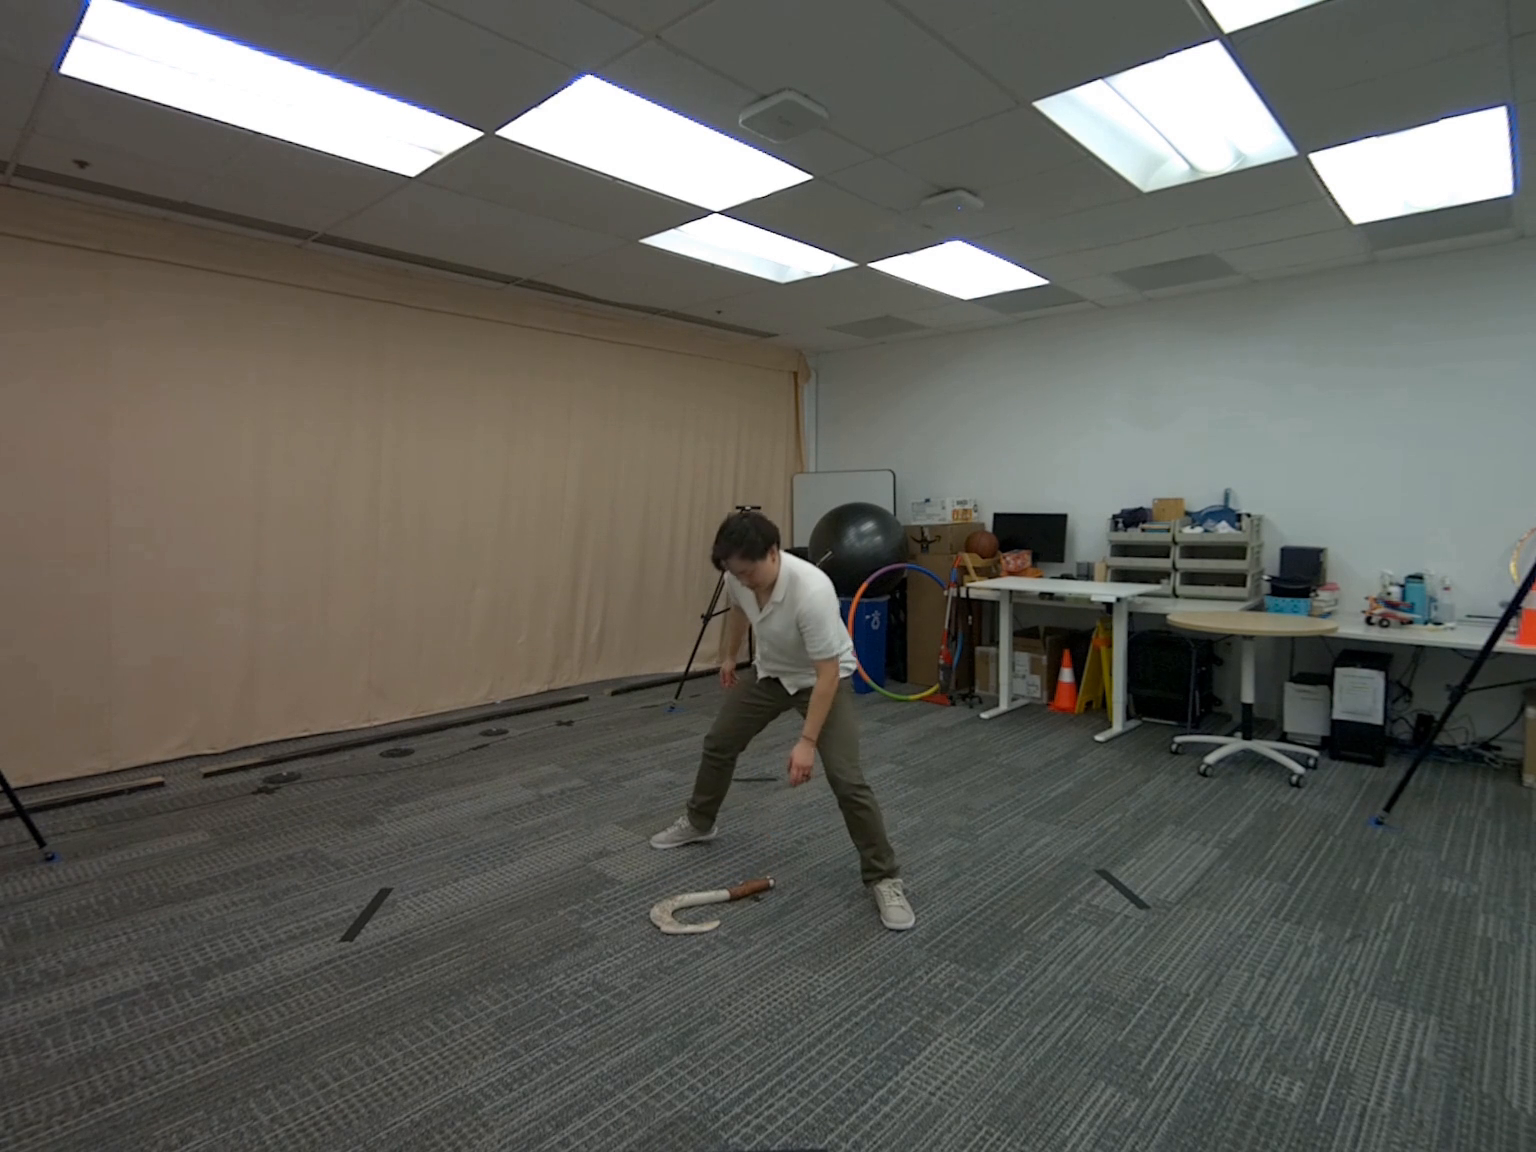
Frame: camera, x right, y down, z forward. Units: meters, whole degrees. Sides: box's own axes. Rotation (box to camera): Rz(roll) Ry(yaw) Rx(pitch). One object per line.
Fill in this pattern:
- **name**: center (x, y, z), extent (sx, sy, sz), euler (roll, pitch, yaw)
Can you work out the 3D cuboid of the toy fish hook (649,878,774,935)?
- **toy fish hook**: center (-0.157, 1.141, 2.904), extent (0.493, 0.048, 0.232), euler (-4, 13, -31)
